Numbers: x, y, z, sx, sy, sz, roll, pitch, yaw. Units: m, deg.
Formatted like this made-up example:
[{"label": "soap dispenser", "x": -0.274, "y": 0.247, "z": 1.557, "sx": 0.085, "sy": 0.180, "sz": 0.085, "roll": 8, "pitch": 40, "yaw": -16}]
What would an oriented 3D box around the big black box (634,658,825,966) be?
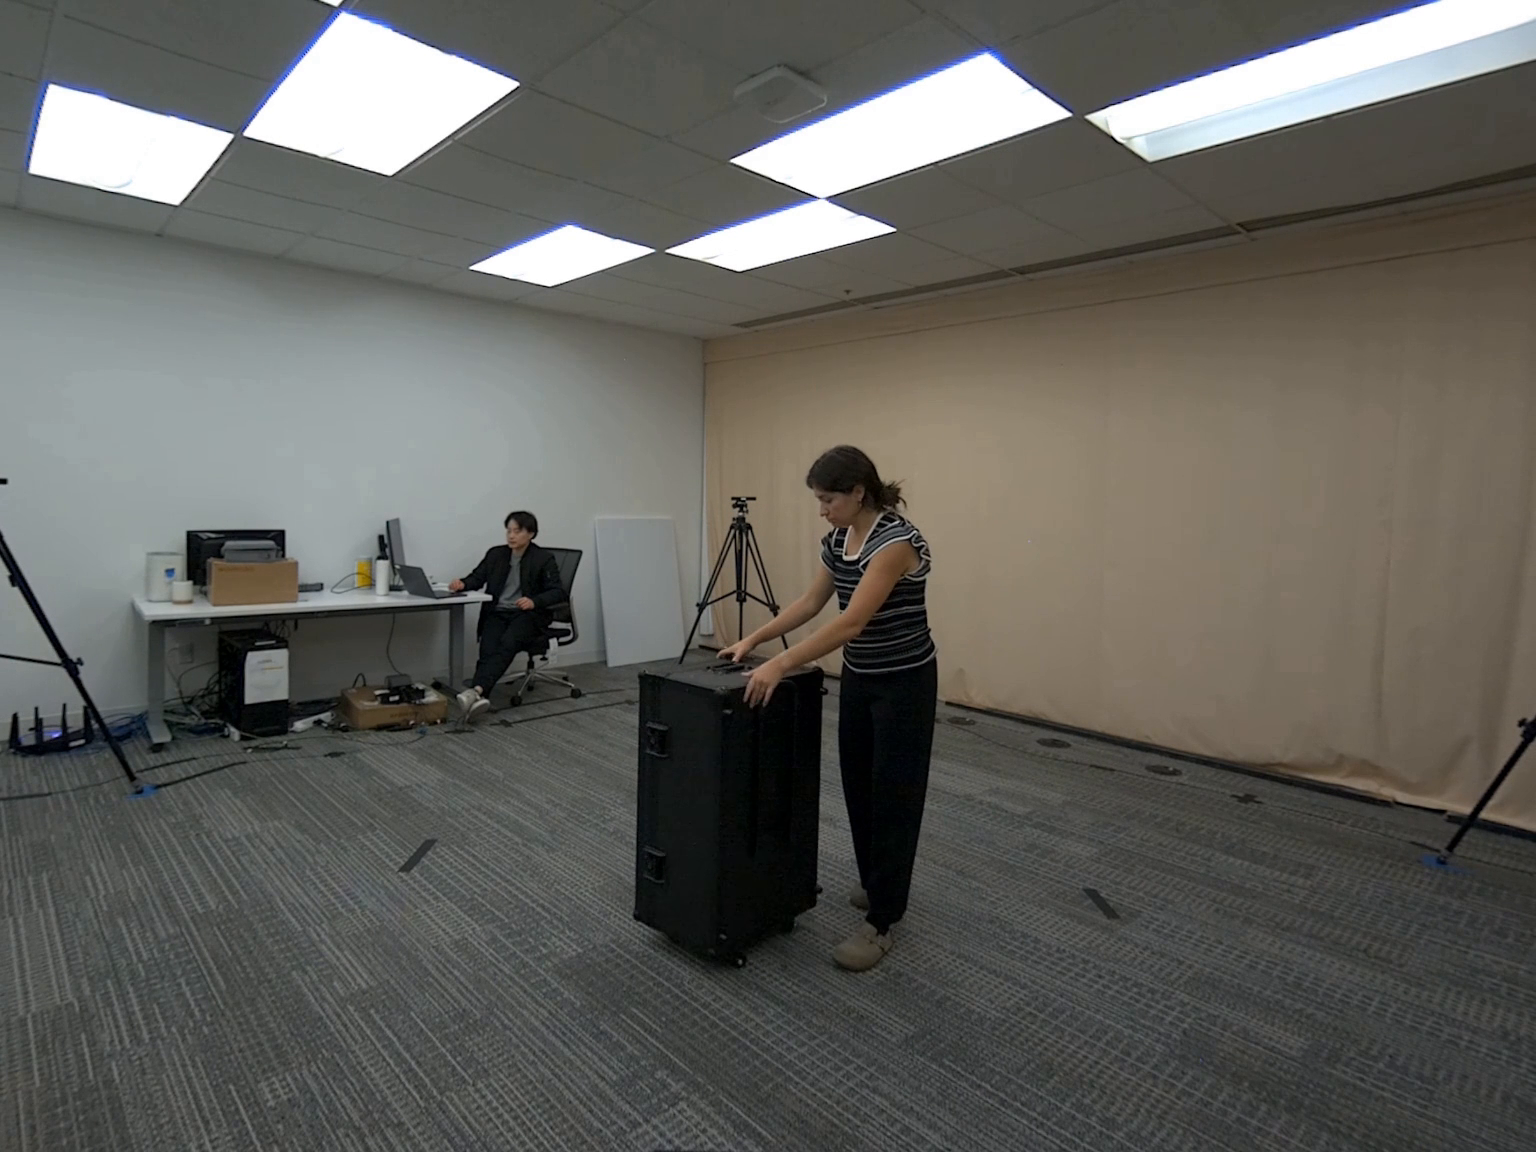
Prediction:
[{"label": "big black box", "x": -0.115, "y": 0.721, "z": 2.666, "sx": 0.406, "sy": 0.860, "sz": 0.509, "roll": 4, "pitch": 4, "yaw": 40}]
